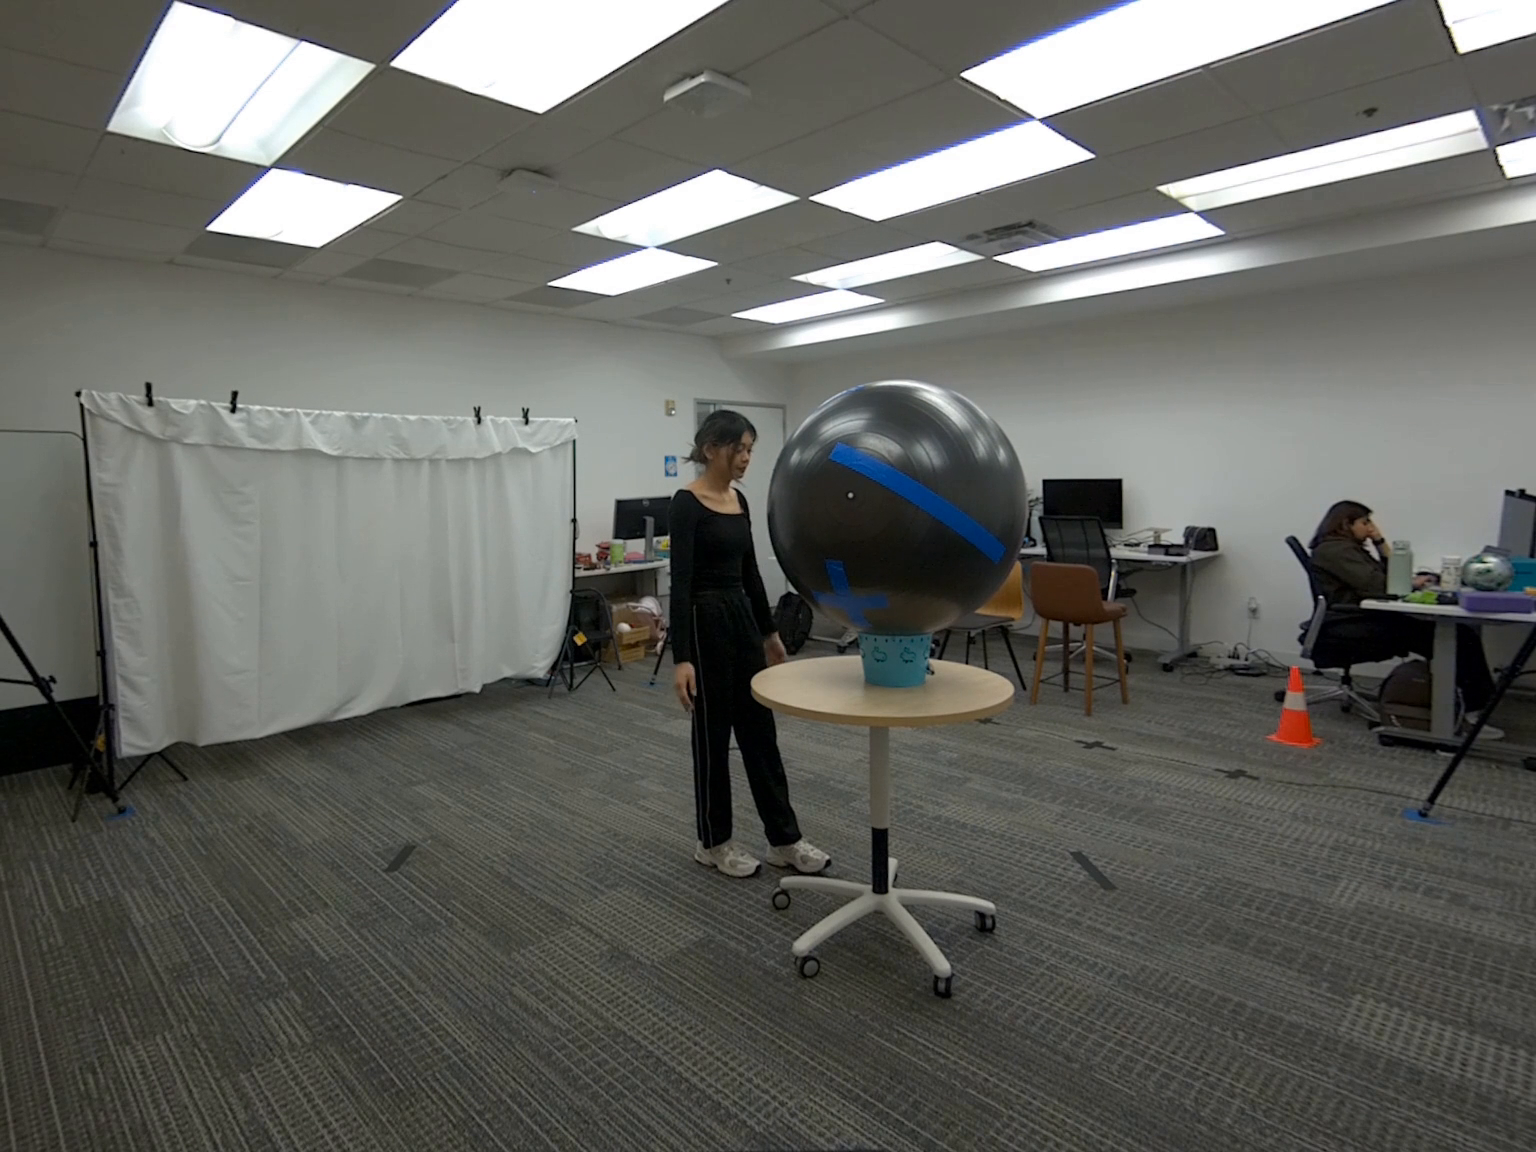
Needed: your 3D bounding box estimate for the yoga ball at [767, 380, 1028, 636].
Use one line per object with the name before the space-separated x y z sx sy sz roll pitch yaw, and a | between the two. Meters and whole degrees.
yoga ball | 0.378 -0.195 2.540 0.757 0.755 0.762 -1 5 -2
